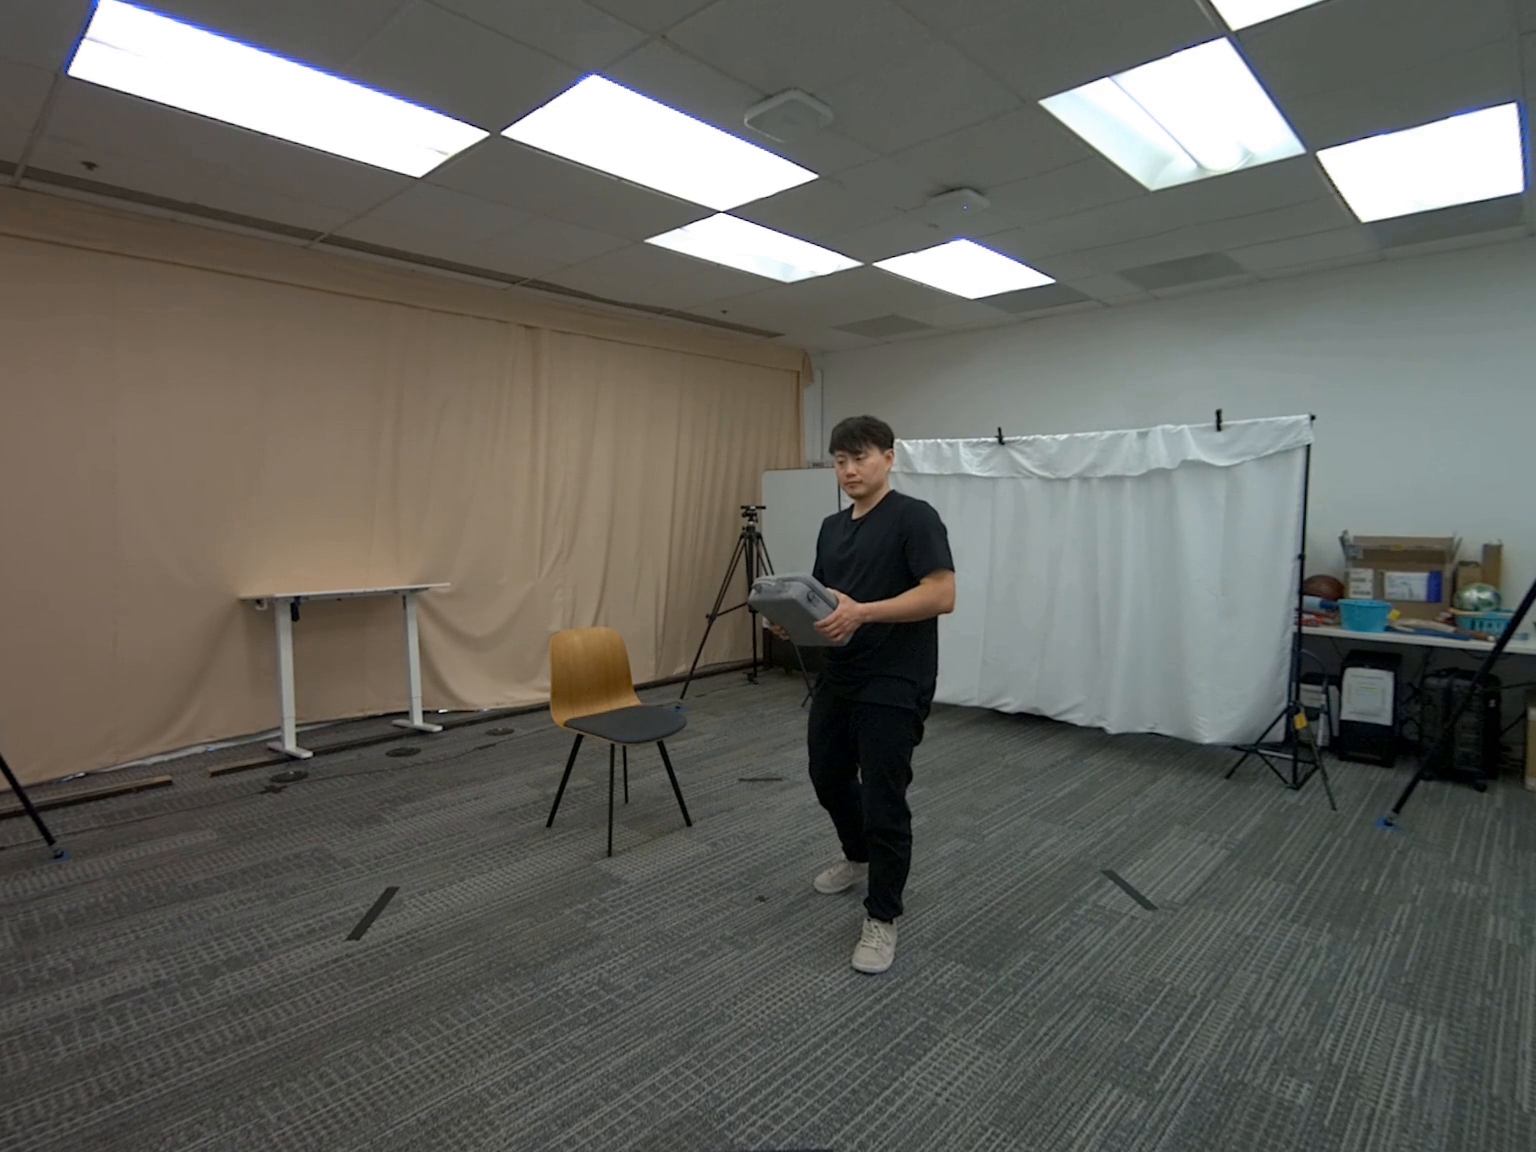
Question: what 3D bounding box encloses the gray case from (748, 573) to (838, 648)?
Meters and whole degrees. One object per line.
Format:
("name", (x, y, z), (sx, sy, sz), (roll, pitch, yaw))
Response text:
("gray case", (0.103, 0.099, 2.512), (0.253, 0.104, 0.264), (38, -25, -26))
